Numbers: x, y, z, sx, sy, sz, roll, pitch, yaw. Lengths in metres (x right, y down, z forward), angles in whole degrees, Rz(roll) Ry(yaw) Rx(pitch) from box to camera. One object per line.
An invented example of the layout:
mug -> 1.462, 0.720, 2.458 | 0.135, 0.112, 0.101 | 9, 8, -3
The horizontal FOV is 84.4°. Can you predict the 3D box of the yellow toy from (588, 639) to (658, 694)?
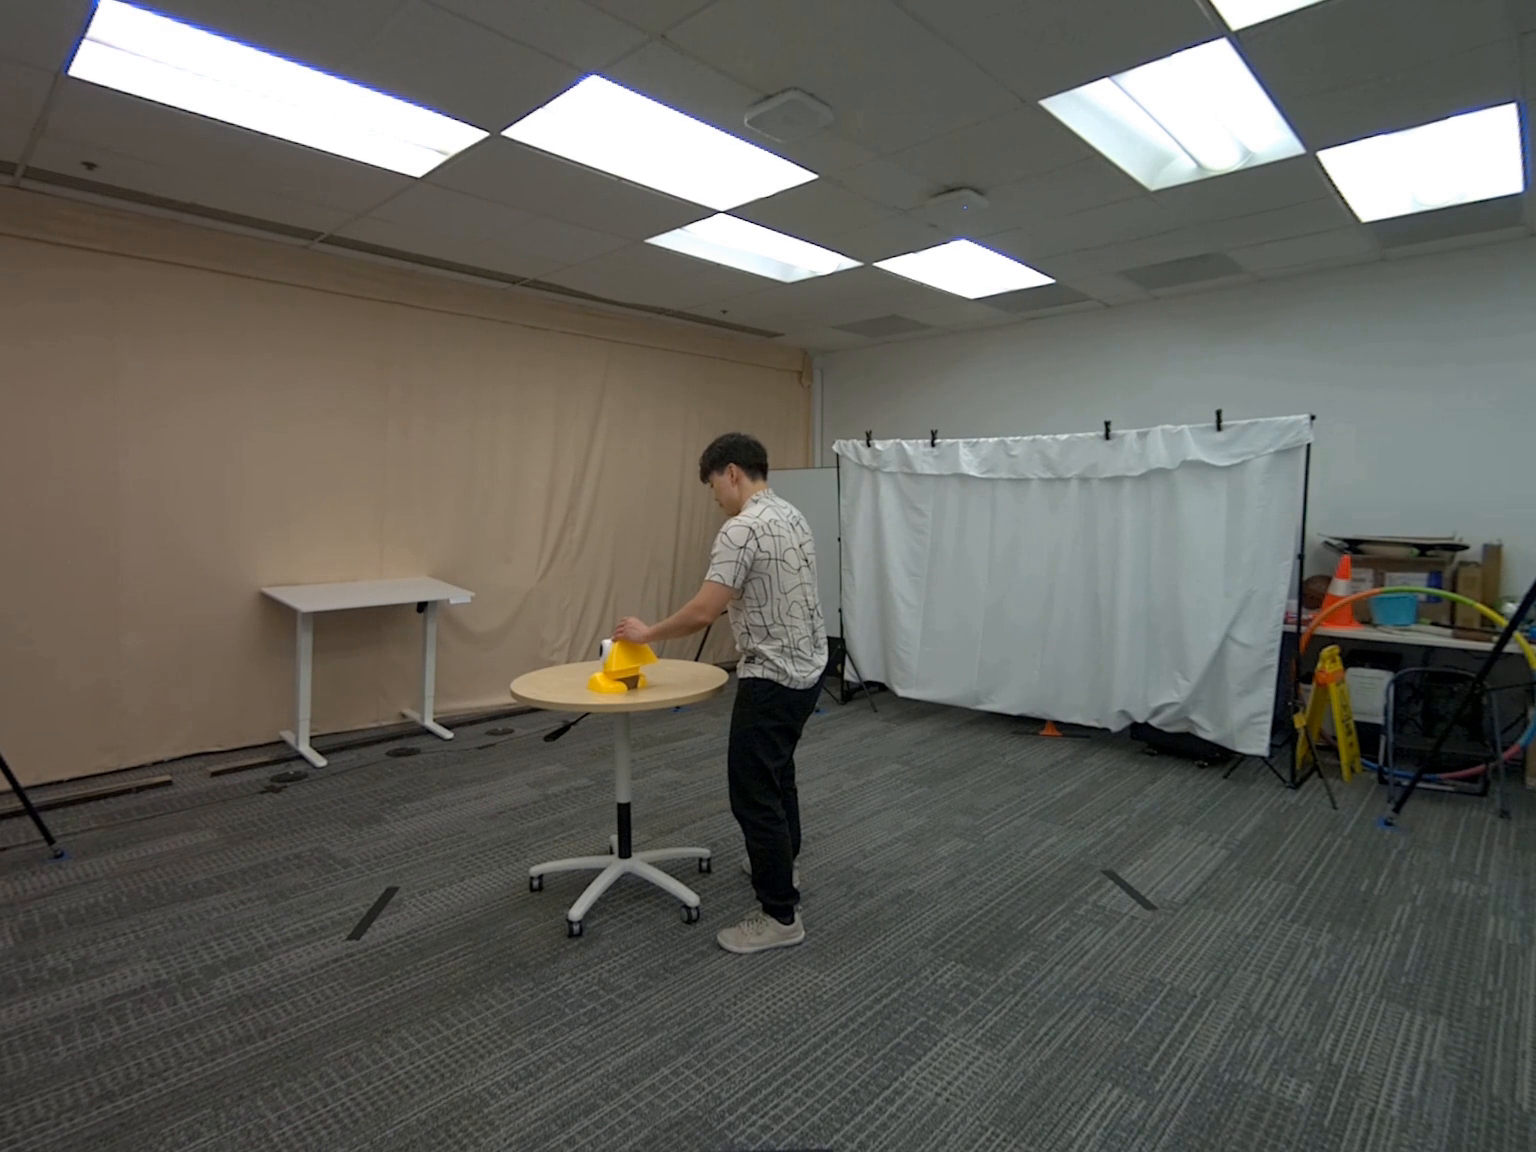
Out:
yellow toy -> -0.505, 0.265, 2.851 | 0.199, 0.230, 0.199 | 2, 6, 41
